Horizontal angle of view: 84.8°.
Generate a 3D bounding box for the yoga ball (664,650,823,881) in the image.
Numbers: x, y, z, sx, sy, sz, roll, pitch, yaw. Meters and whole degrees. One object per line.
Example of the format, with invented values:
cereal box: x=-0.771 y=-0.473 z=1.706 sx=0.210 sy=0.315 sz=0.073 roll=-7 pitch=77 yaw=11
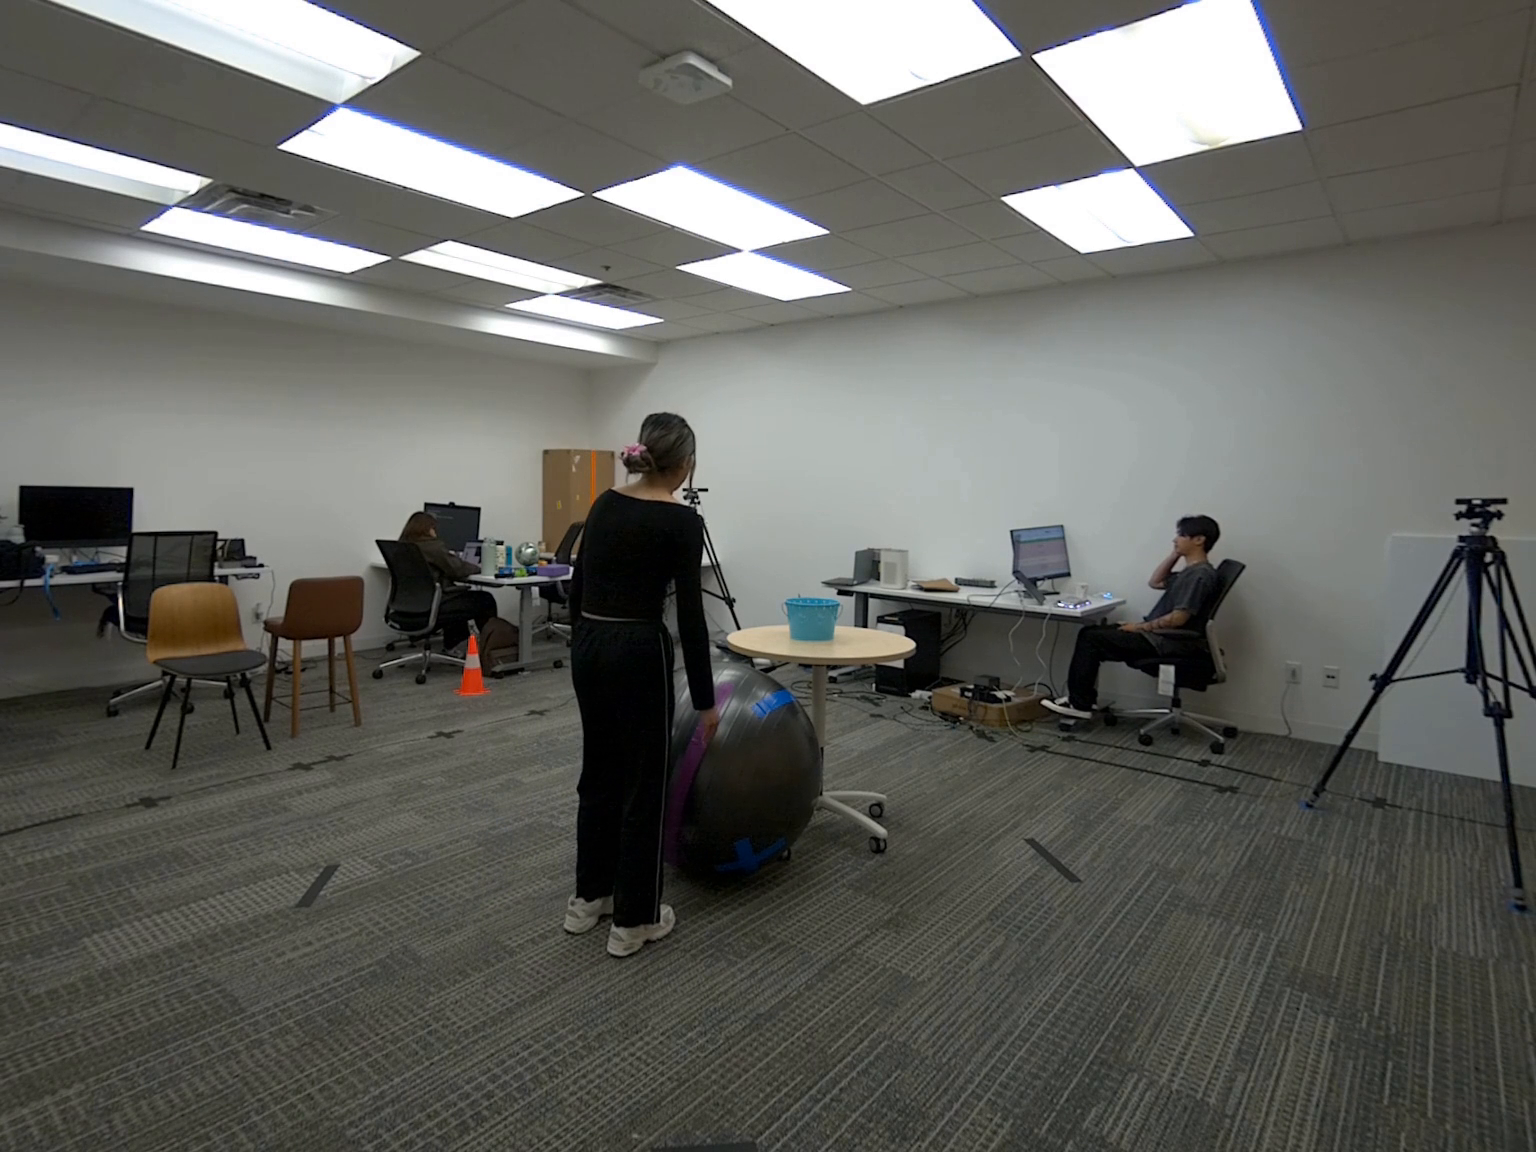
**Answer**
yoga ball: x=-0.186 y=0.703 z=3.126 sx=0.757 sy=0.756 sz=0.762 roll=1 pitch=4 yaw=-2
